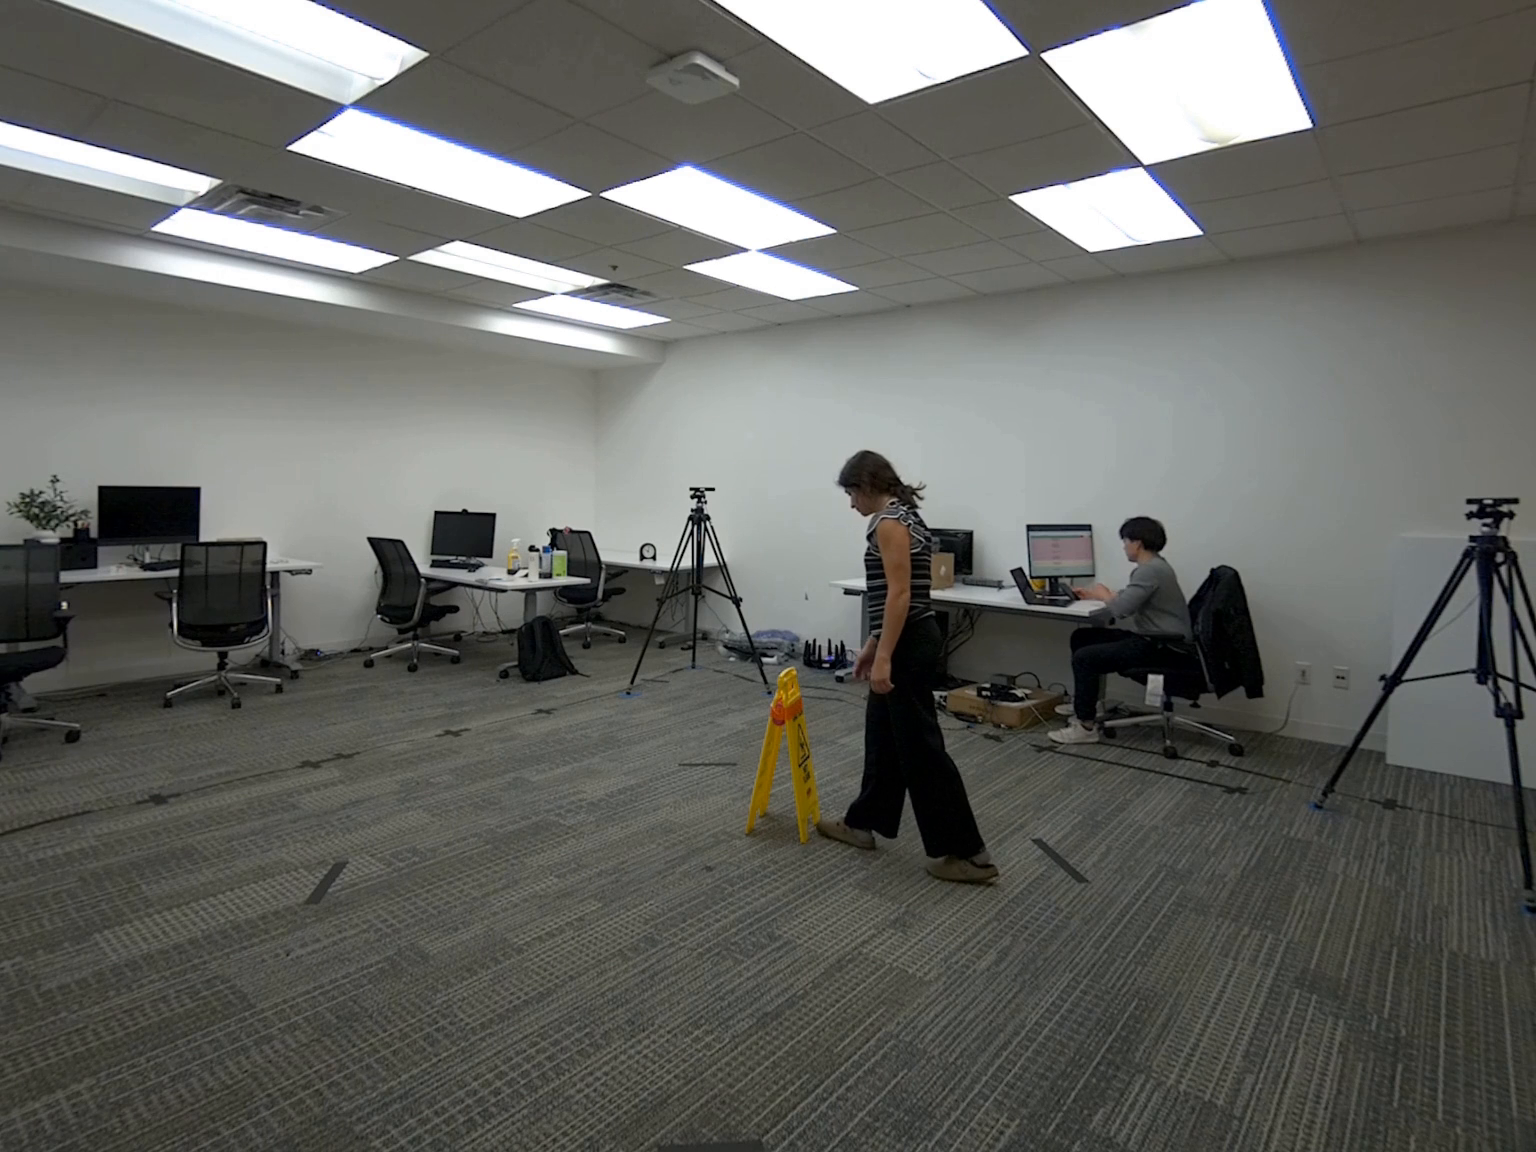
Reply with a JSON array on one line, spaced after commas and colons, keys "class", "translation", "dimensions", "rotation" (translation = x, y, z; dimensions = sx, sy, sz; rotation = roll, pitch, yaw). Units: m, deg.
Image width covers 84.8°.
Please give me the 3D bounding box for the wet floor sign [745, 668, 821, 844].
[{"class": "wet floor sign", "translation": [0.068, 0.711, 3.498], "dimensions": [0.295, 0.643, 0.278], "rotation": [3, 4, 17]}]
